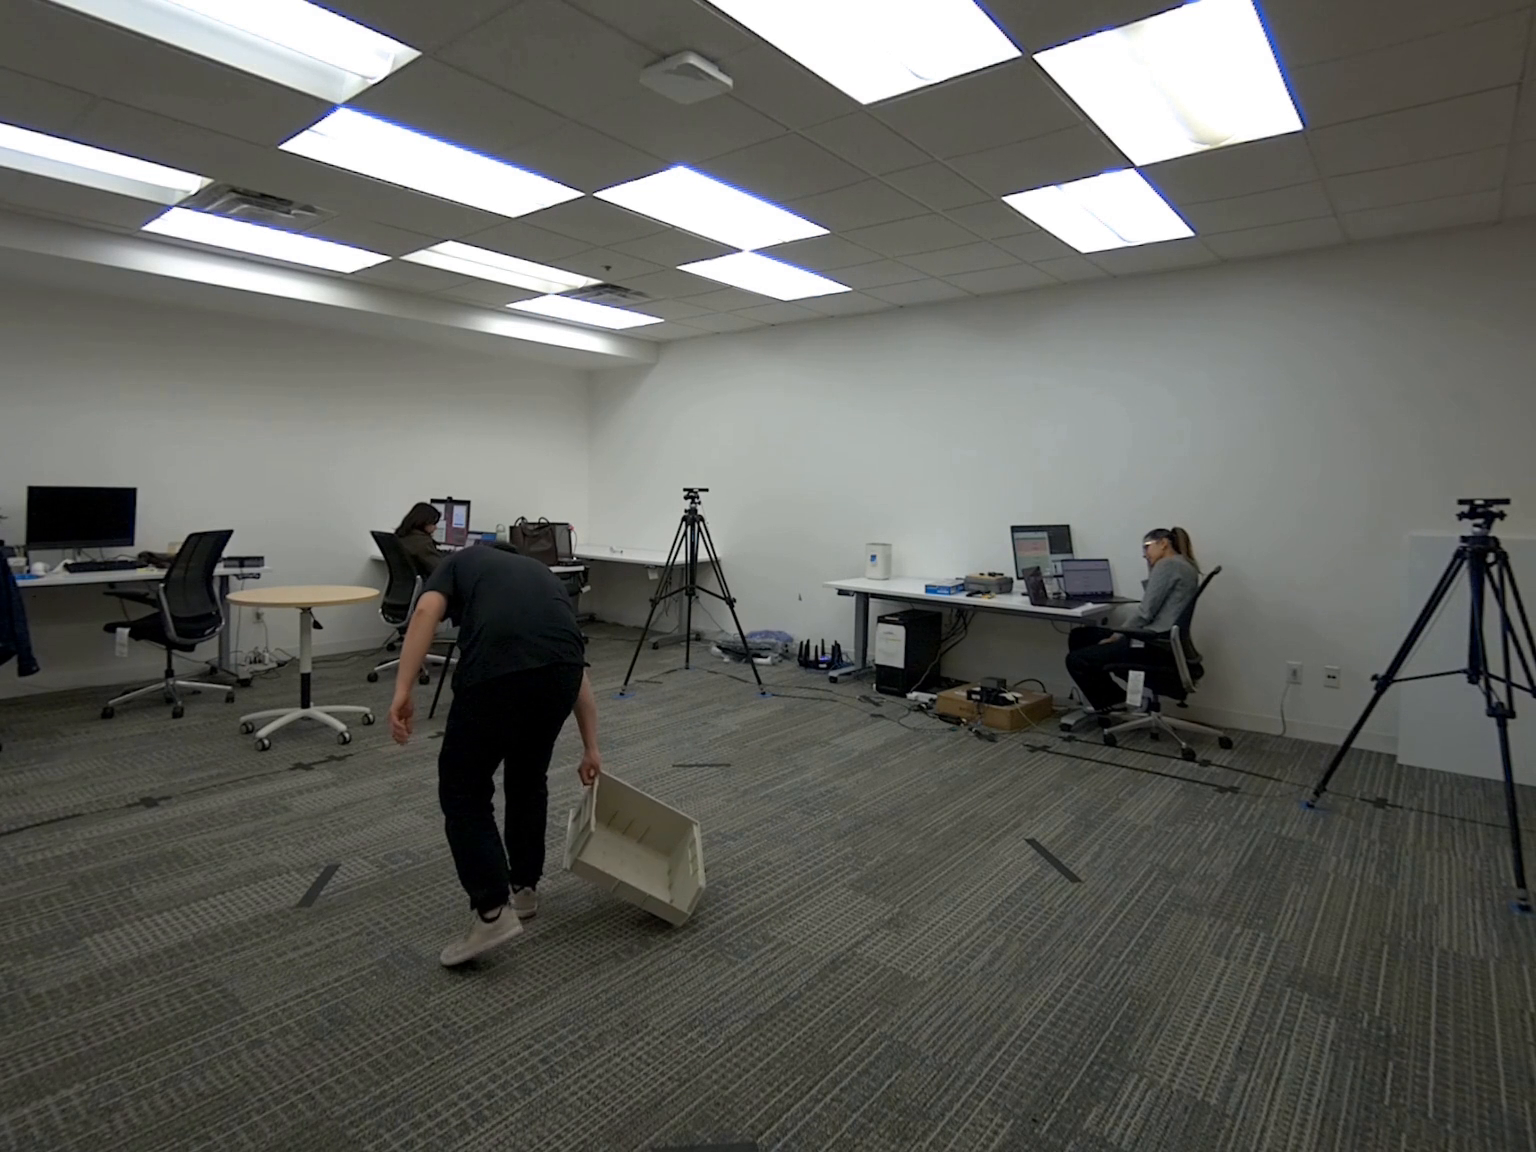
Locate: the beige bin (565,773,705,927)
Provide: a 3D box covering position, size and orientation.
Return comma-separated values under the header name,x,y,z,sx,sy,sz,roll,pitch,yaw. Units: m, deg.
name,x,y,z,sx,sy,sz,roll,pitch,yaw
beige bin,-0.441,0.889,2.773,0.414,0.188,0.386,32,9,-15
